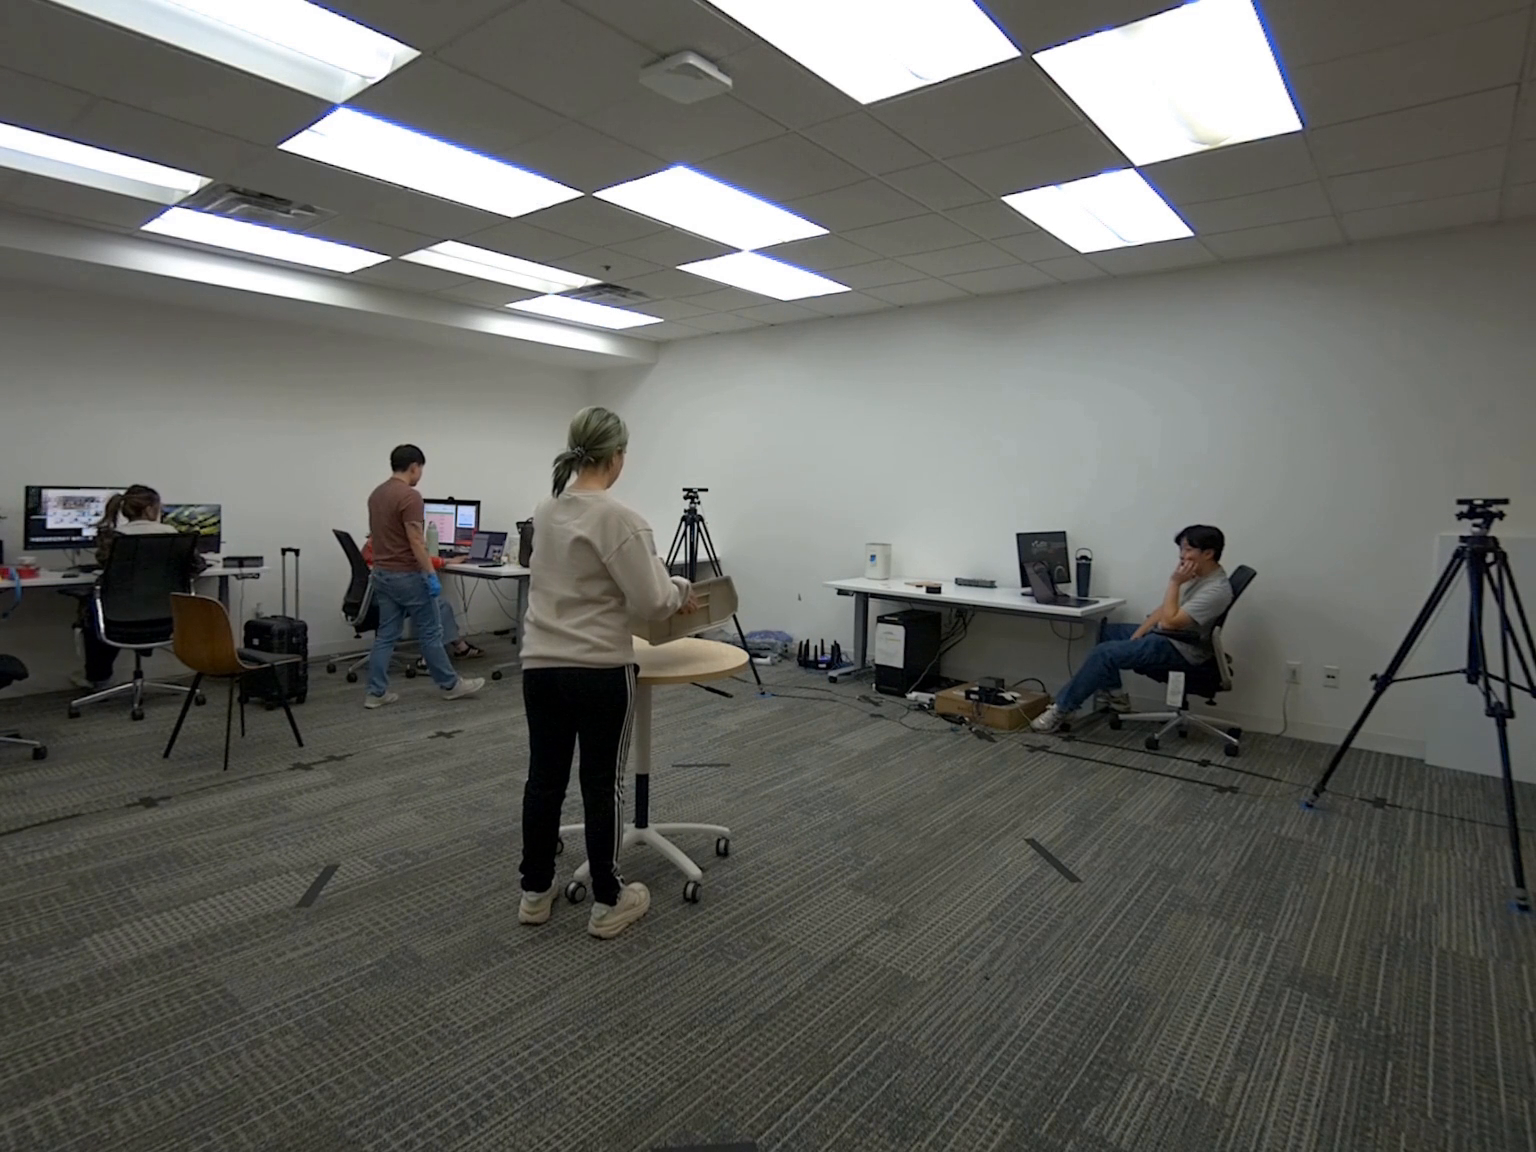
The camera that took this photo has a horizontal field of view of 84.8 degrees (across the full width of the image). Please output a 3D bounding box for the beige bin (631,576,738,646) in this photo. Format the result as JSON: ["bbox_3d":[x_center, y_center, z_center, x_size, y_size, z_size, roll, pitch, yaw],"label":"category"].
[{"bbox_3d":[-0.385,0.080,3.050,0.369,0.186,0.438,-14,18,-36],"label":"beige bin"}]
